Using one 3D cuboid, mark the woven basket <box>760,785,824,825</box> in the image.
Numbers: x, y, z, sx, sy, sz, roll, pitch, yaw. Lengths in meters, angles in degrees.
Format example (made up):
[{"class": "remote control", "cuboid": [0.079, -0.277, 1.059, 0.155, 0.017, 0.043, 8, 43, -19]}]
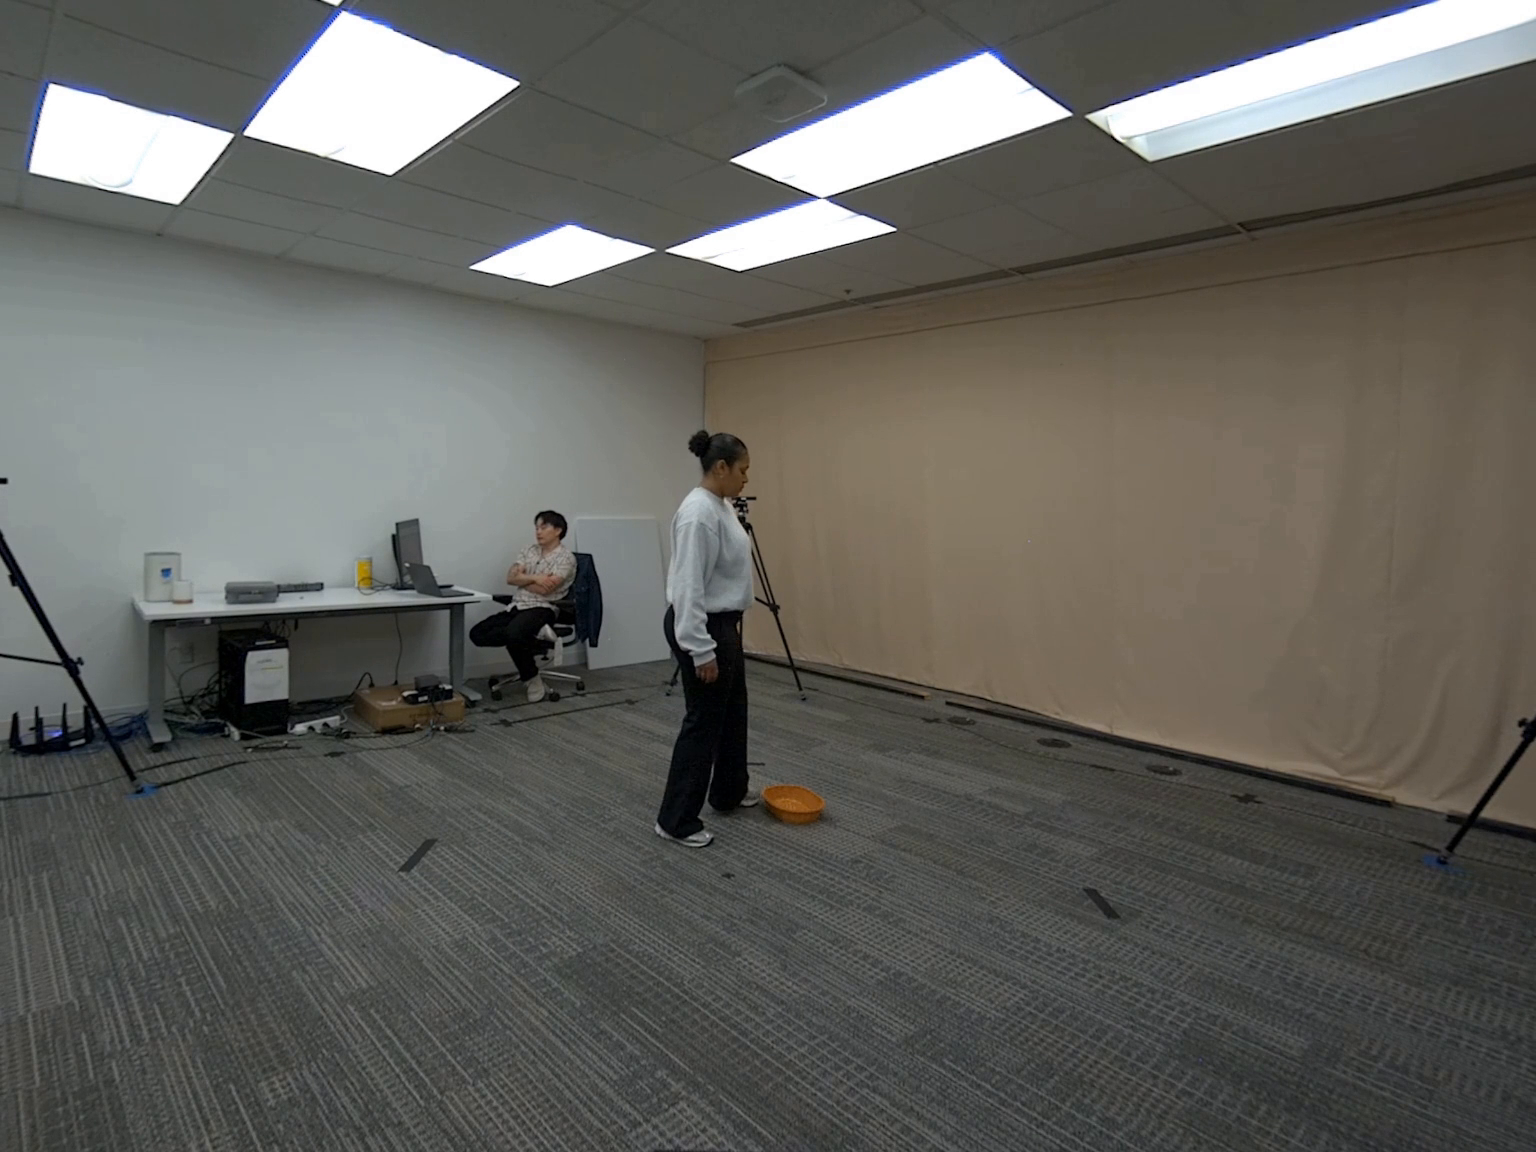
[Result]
[{"class": "woven basket", "cuboid": [0.100, 1.018, 3.752, 0.249, 0.073, 0.356, 0, 5, -18]}]
